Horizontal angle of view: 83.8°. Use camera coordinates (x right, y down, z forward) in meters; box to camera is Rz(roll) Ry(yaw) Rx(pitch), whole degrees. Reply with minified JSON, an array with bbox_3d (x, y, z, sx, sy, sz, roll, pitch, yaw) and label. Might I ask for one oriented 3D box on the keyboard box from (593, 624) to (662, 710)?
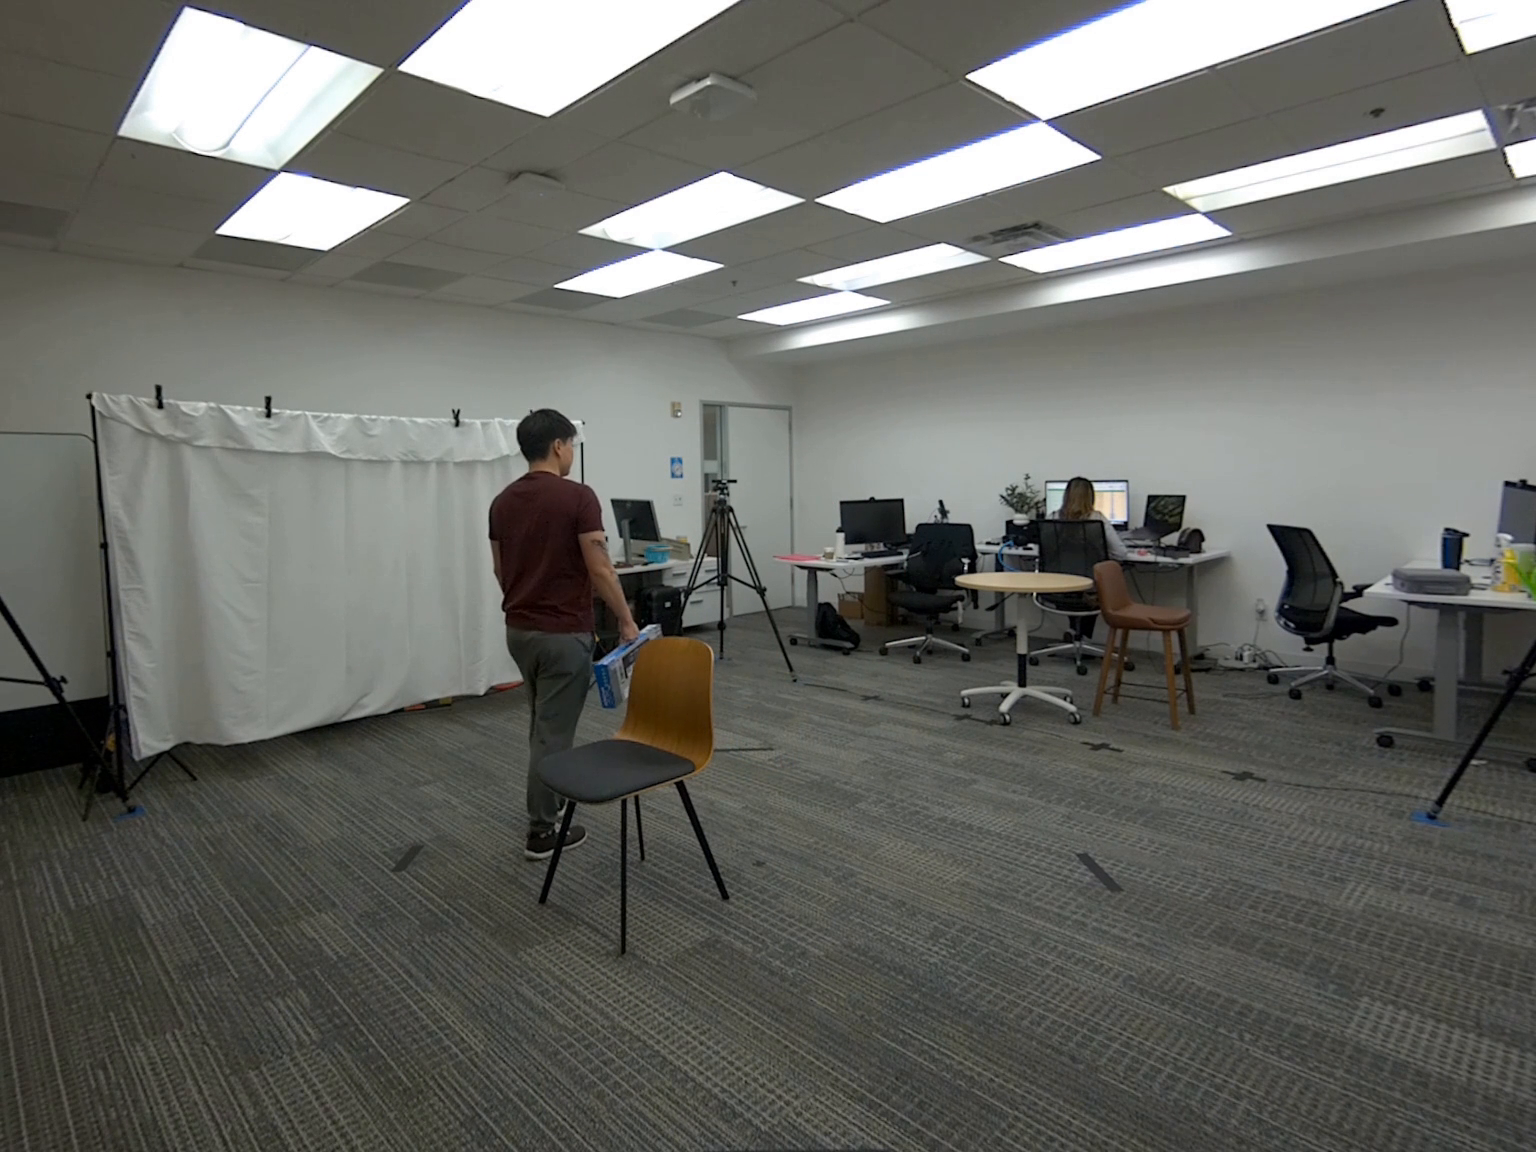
[{"bbox_3d":[-0.526,0.344,3.313,0.060,0.173,0.434,-6,15,23],"label":"keyboard box"}]
